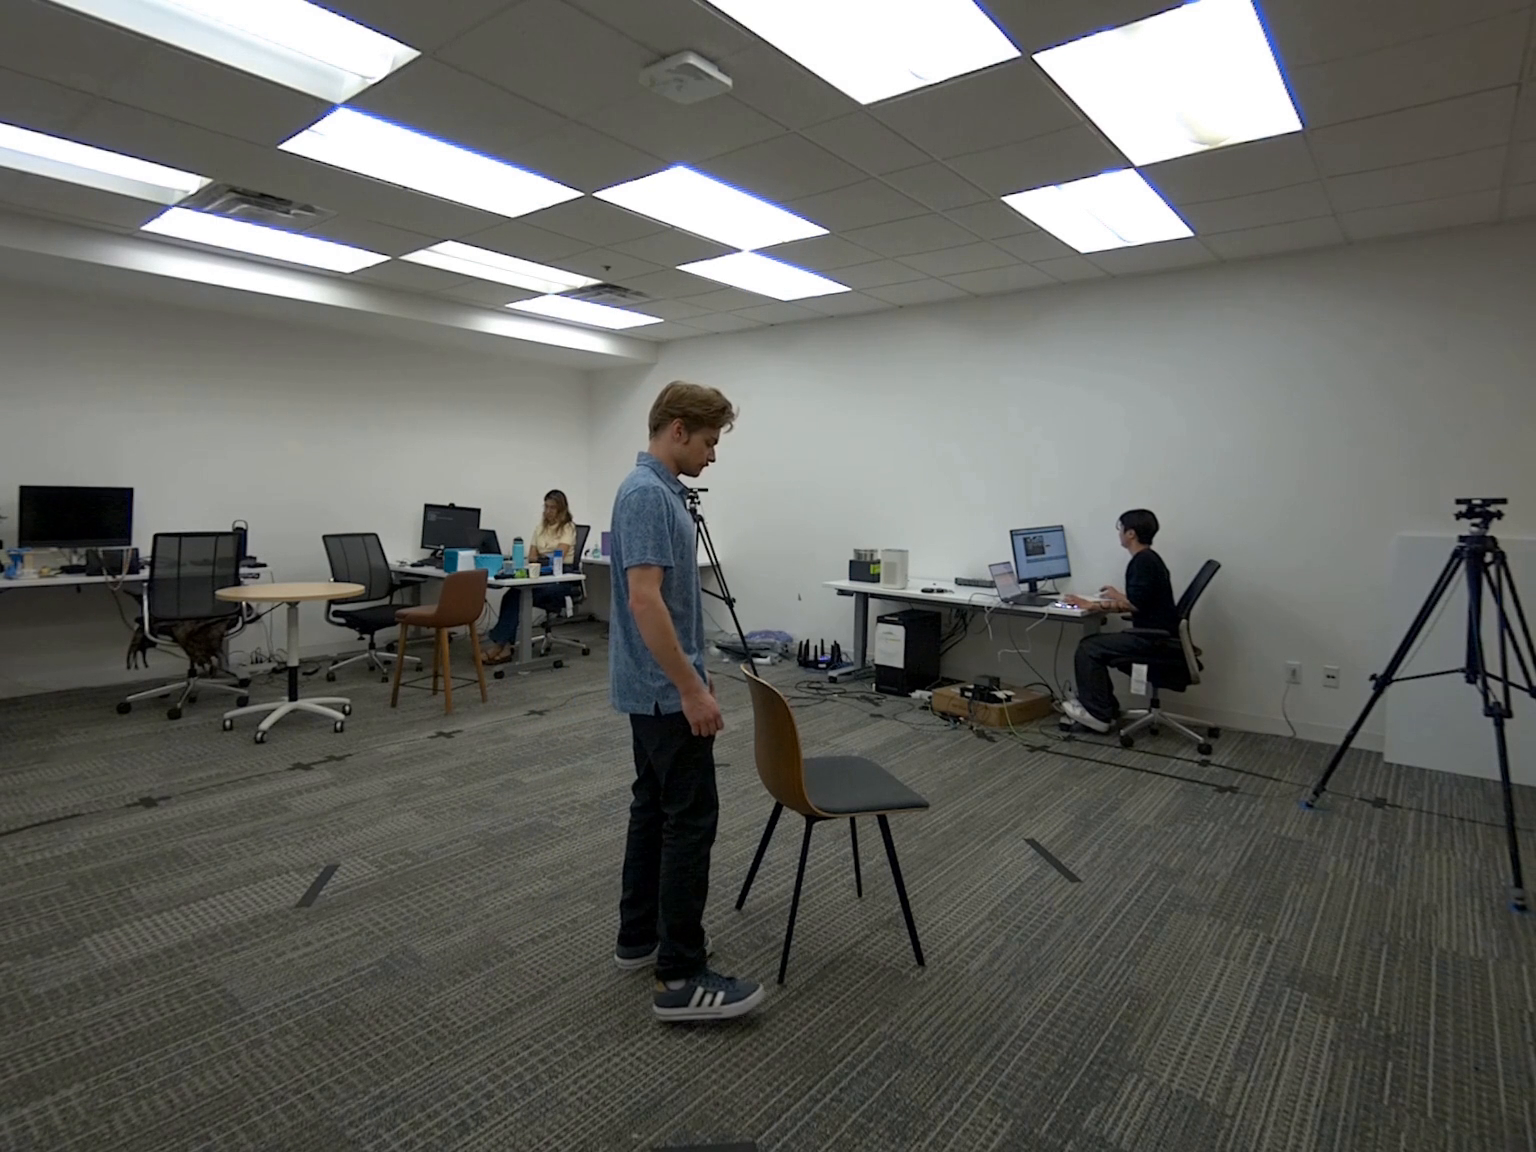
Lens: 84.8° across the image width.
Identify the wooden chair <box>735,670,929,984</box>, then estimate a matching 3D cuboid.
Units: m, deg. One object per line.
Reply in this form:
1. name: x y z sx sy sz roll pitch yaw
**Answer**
1. wooden chair: 0.191 0.693 2.644 0.515 0.874 0.488 -4 4 -17
